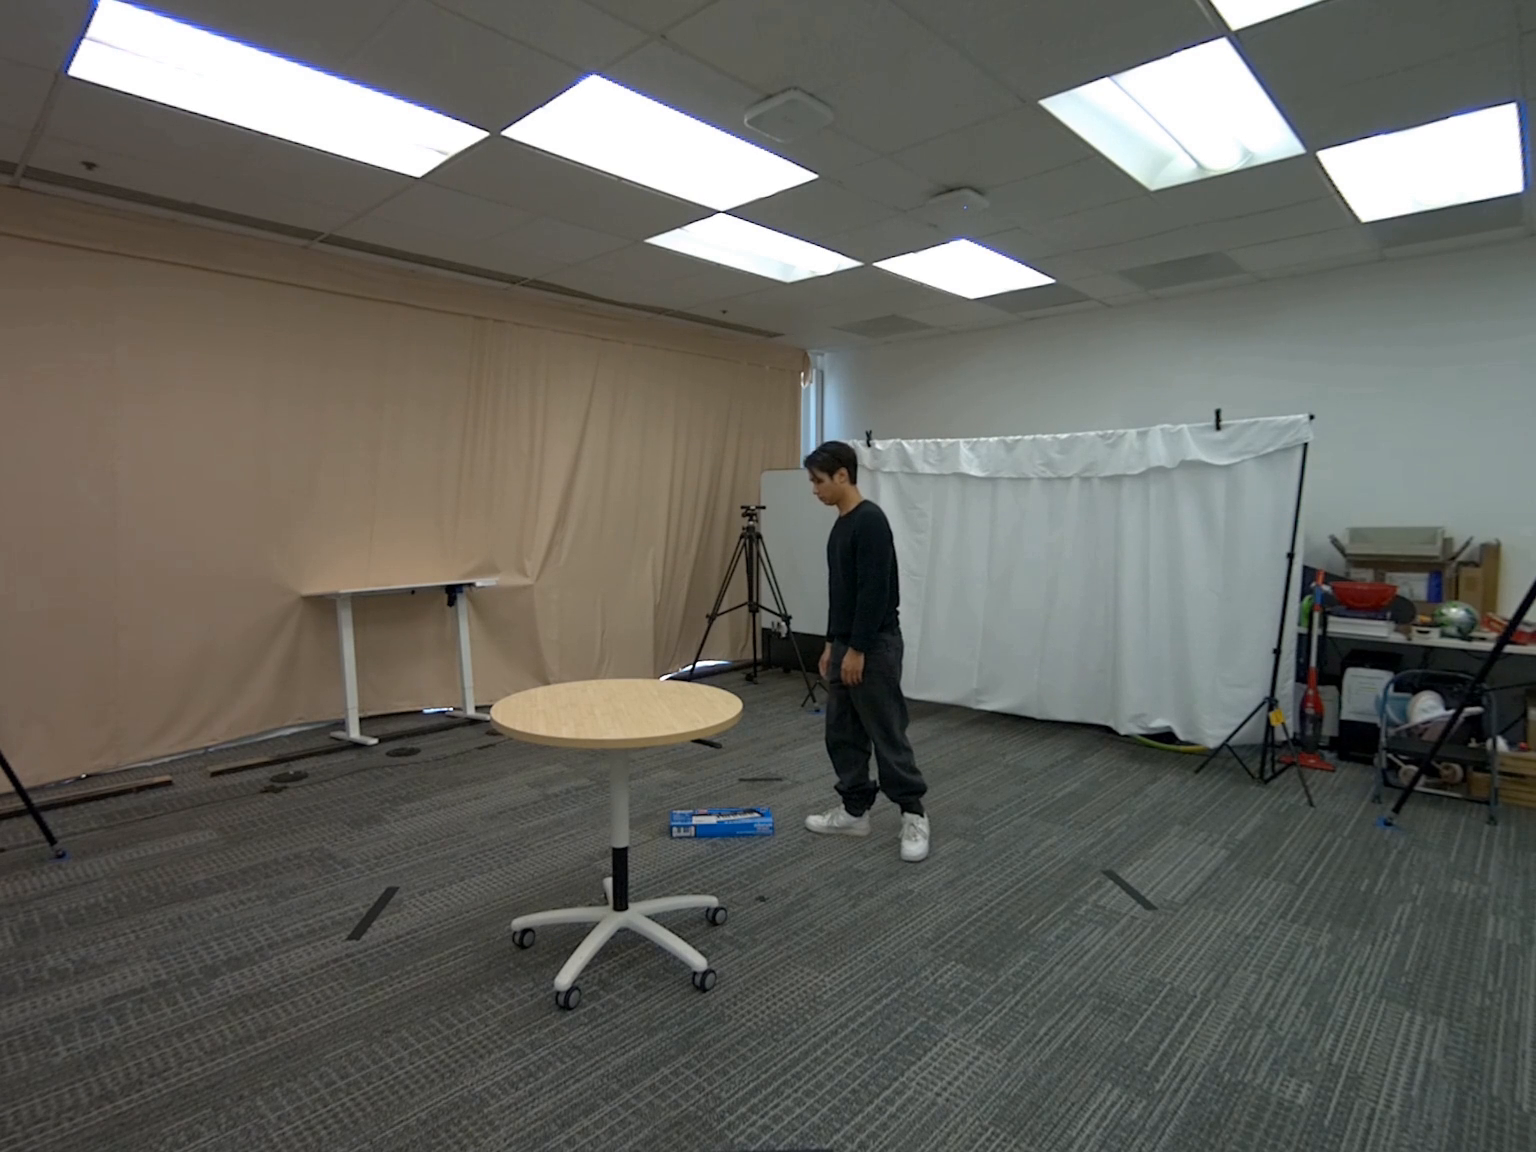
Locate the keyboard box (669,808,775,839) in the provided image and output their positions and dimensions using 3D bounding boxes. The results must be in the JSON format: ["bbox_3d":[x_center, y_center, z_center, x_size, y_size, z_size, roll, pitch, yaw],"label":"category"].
[{"bbox_3d":[-0.202,1.065,3.630,0.435,0.059,0.177,-1,4,-4],"label":"keyboard box"}]
